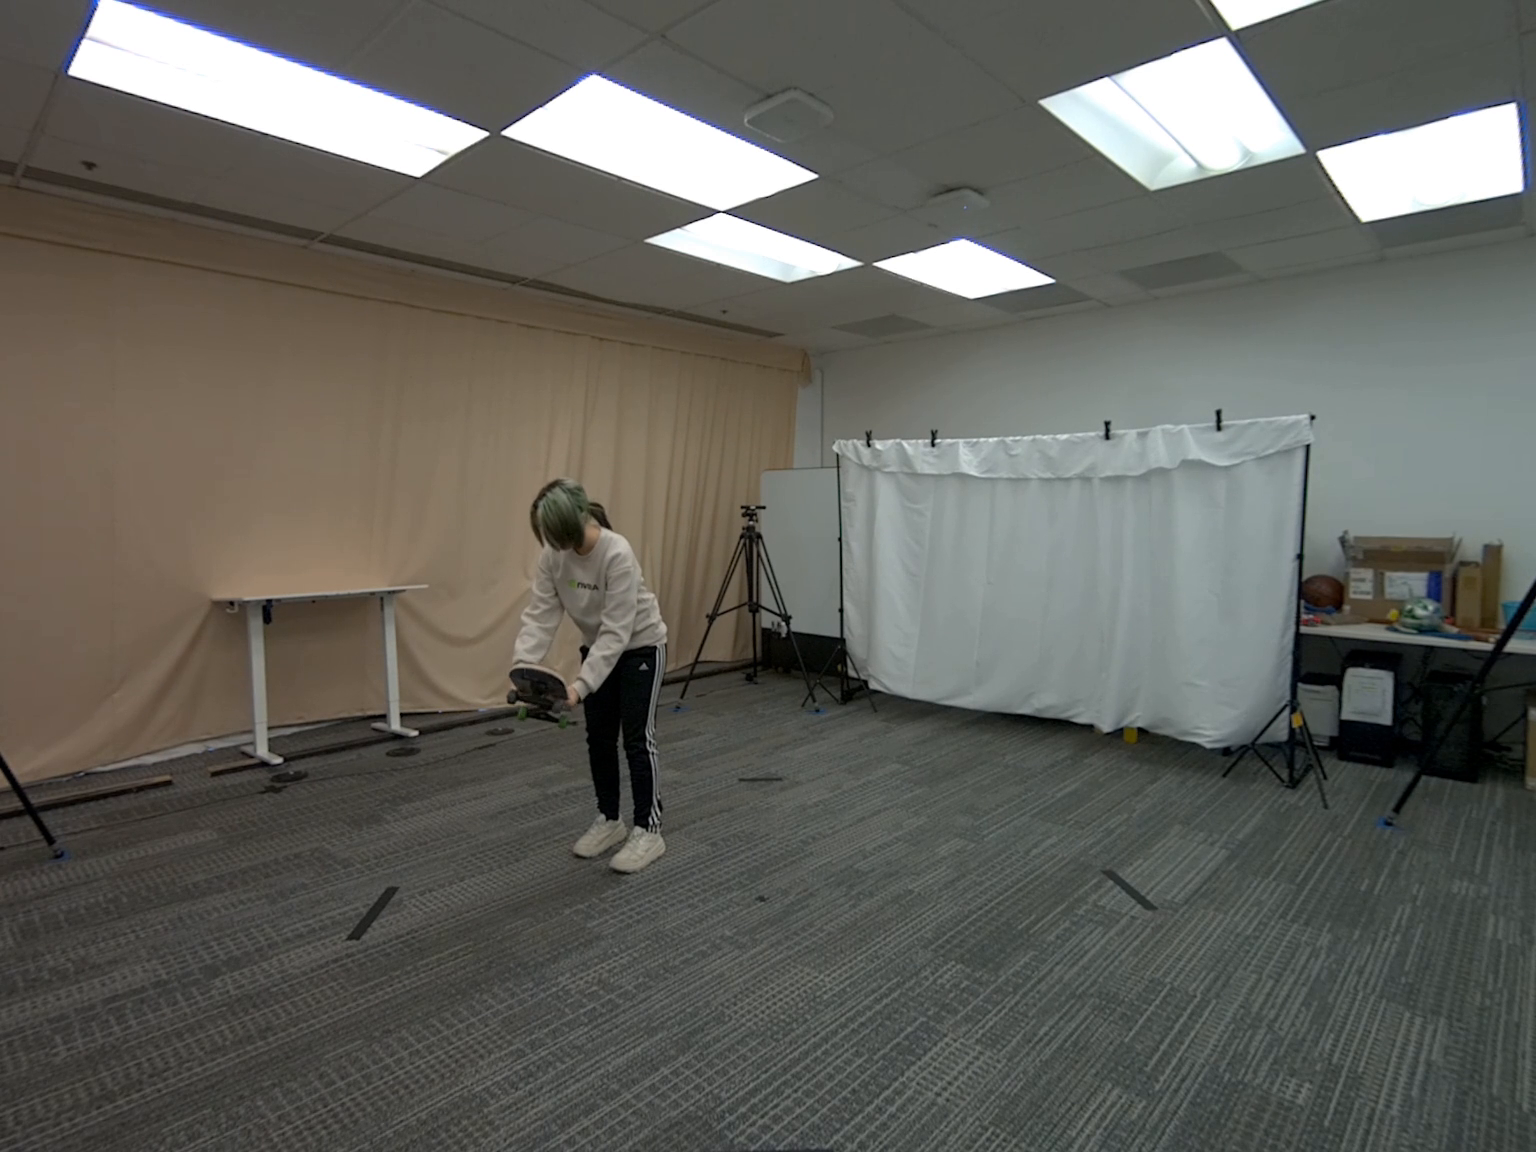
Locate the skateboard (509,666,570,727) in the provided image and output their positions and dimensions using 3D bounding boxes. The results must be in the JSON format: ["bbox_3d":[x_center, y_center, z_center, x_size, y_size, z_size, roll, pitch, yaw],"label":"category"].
[{"bbox_3d":[-0.803,0.451,3.021,0.193,0.111,0.781,11,-19,-4],"label":"skateboard"}]
